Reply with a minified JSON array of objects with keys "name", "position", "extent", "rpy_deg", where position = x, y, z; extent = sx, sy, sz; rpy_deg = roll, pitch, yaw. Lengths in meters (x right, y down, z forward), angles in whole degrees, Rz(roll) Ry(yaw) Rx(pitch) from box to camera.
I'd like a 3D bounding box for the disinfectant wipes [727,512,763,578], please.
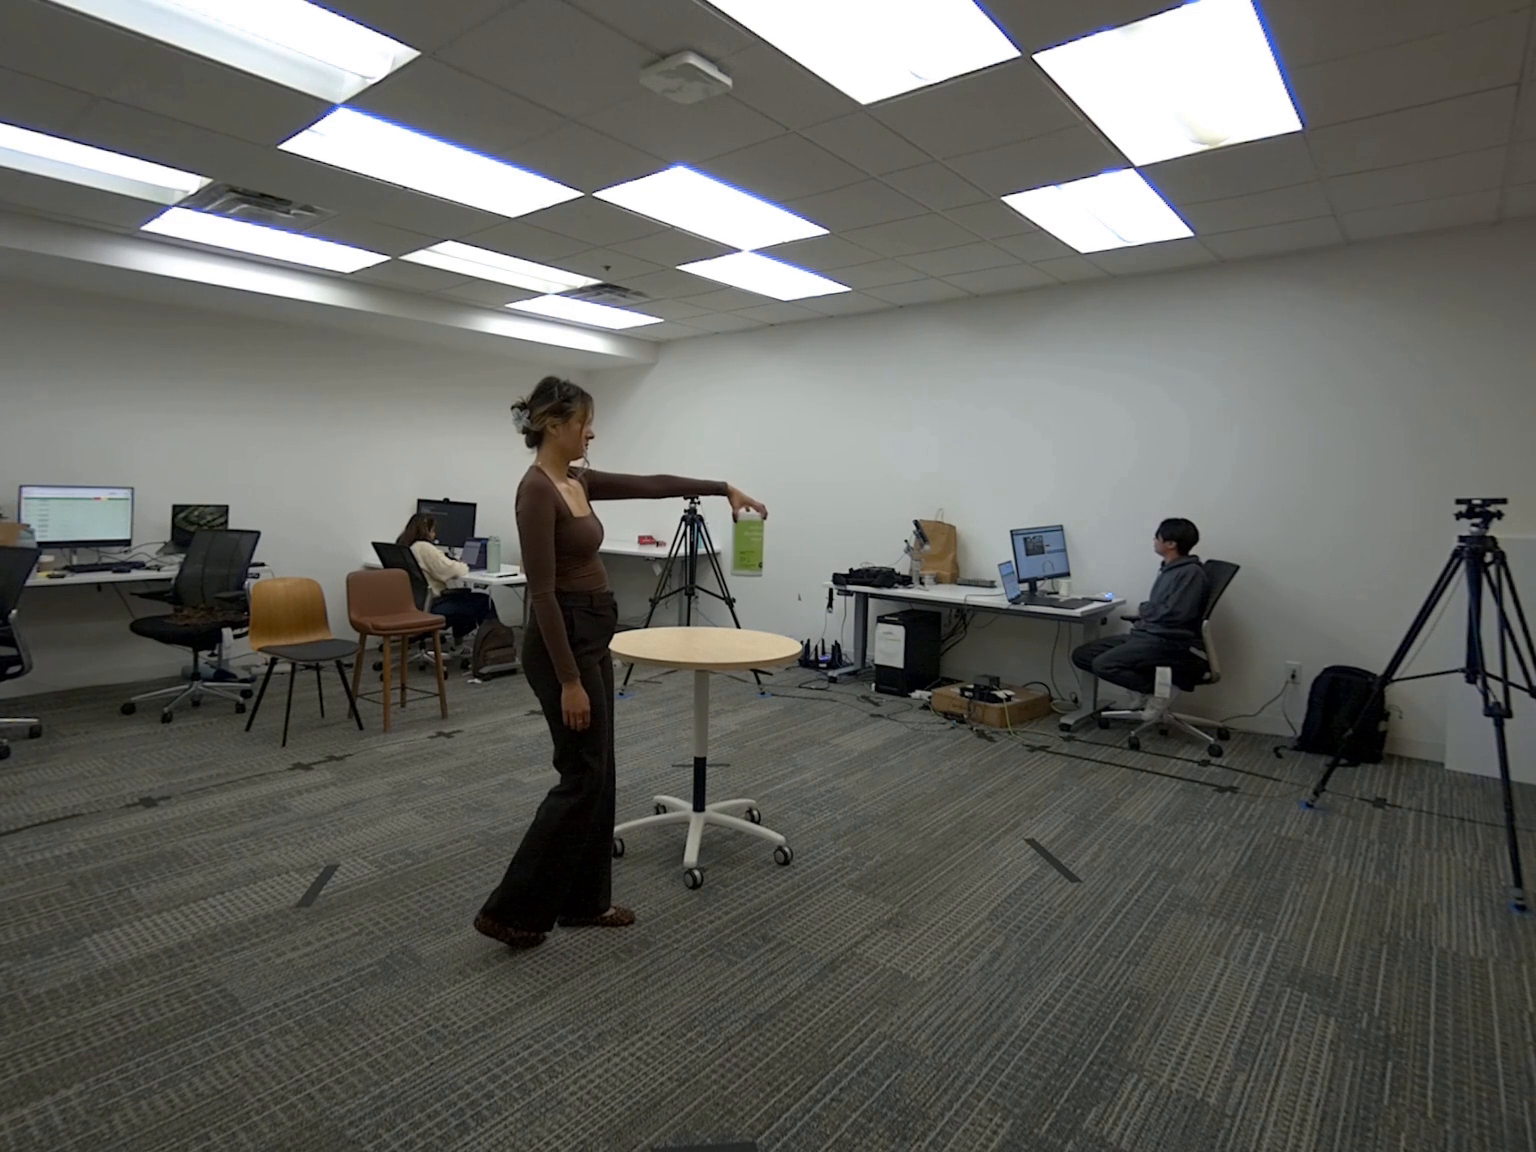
[{"name":"disinfectant wipes","position":[-0.082,-0.107,2.874],"extent":[0.118,0.218,0.118],"rpy_deg":[0,-1,-2]}]
